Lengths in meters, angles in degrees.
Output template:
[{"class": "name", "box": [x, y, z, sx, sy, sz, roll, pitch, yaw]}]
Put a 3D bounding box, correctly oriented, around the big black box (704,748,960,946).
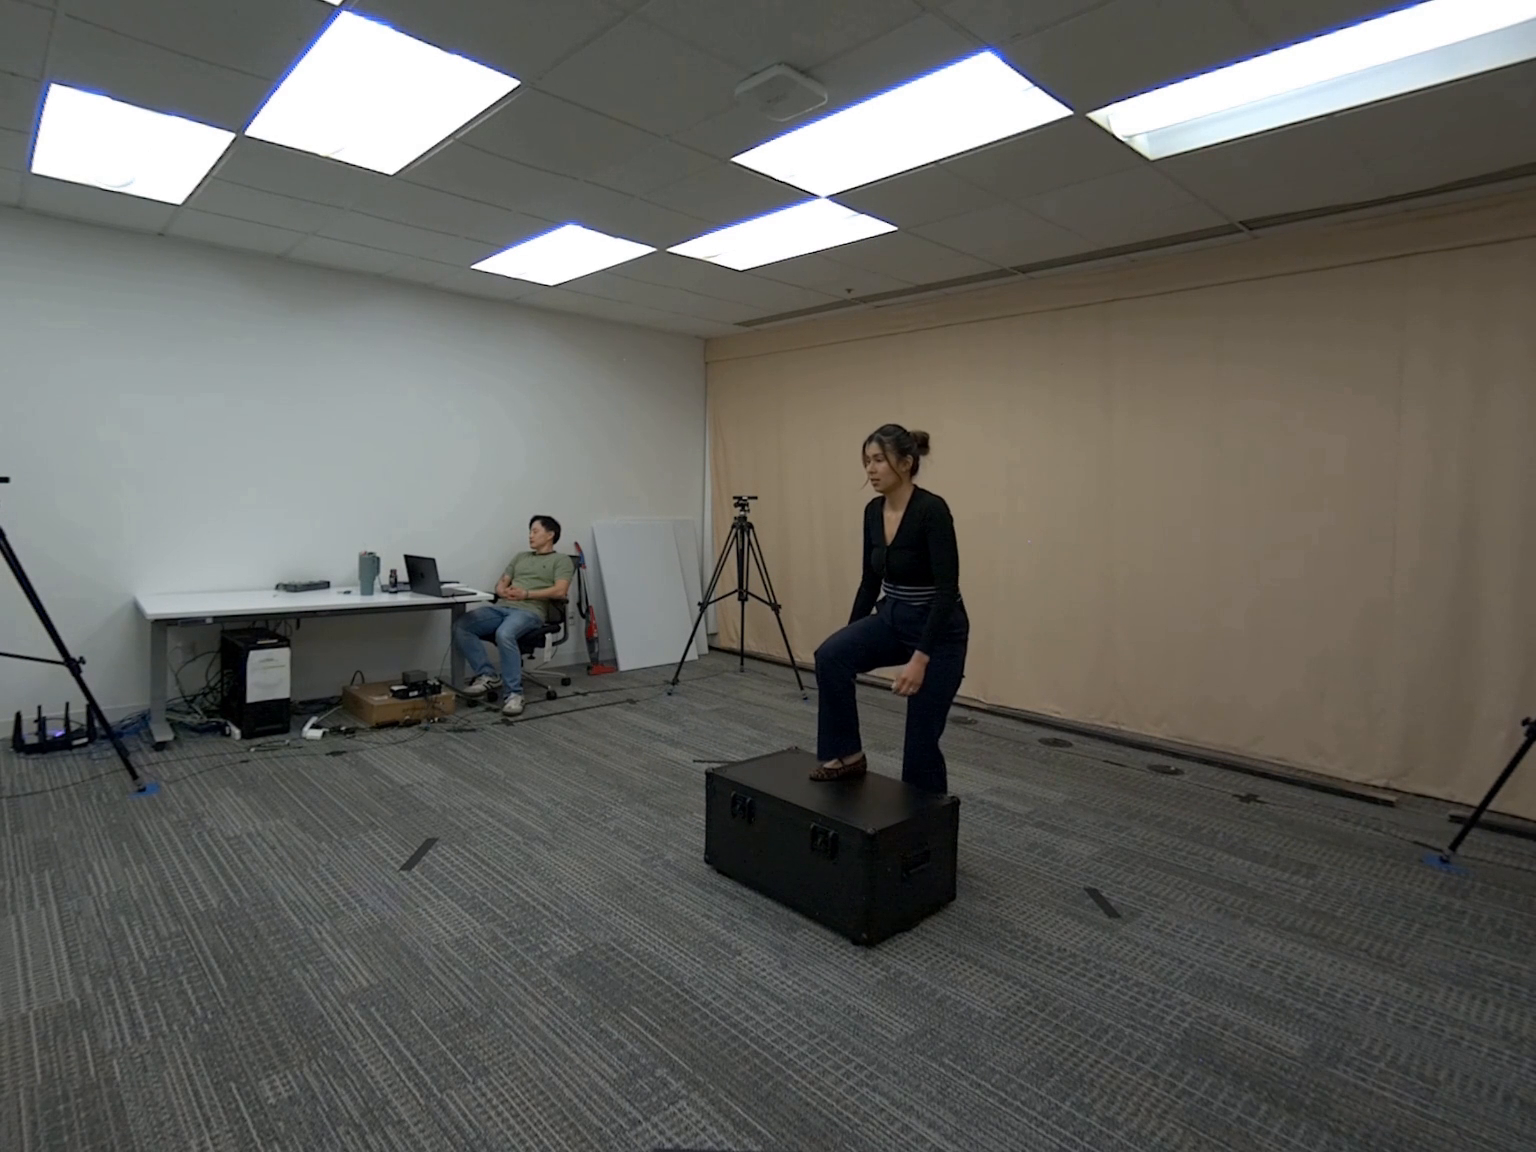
[{"class": "big black box", "box": [0.218, 0.933, 2.990, 0.509, 0.395, 0.883, -3, 6, -43]}]
